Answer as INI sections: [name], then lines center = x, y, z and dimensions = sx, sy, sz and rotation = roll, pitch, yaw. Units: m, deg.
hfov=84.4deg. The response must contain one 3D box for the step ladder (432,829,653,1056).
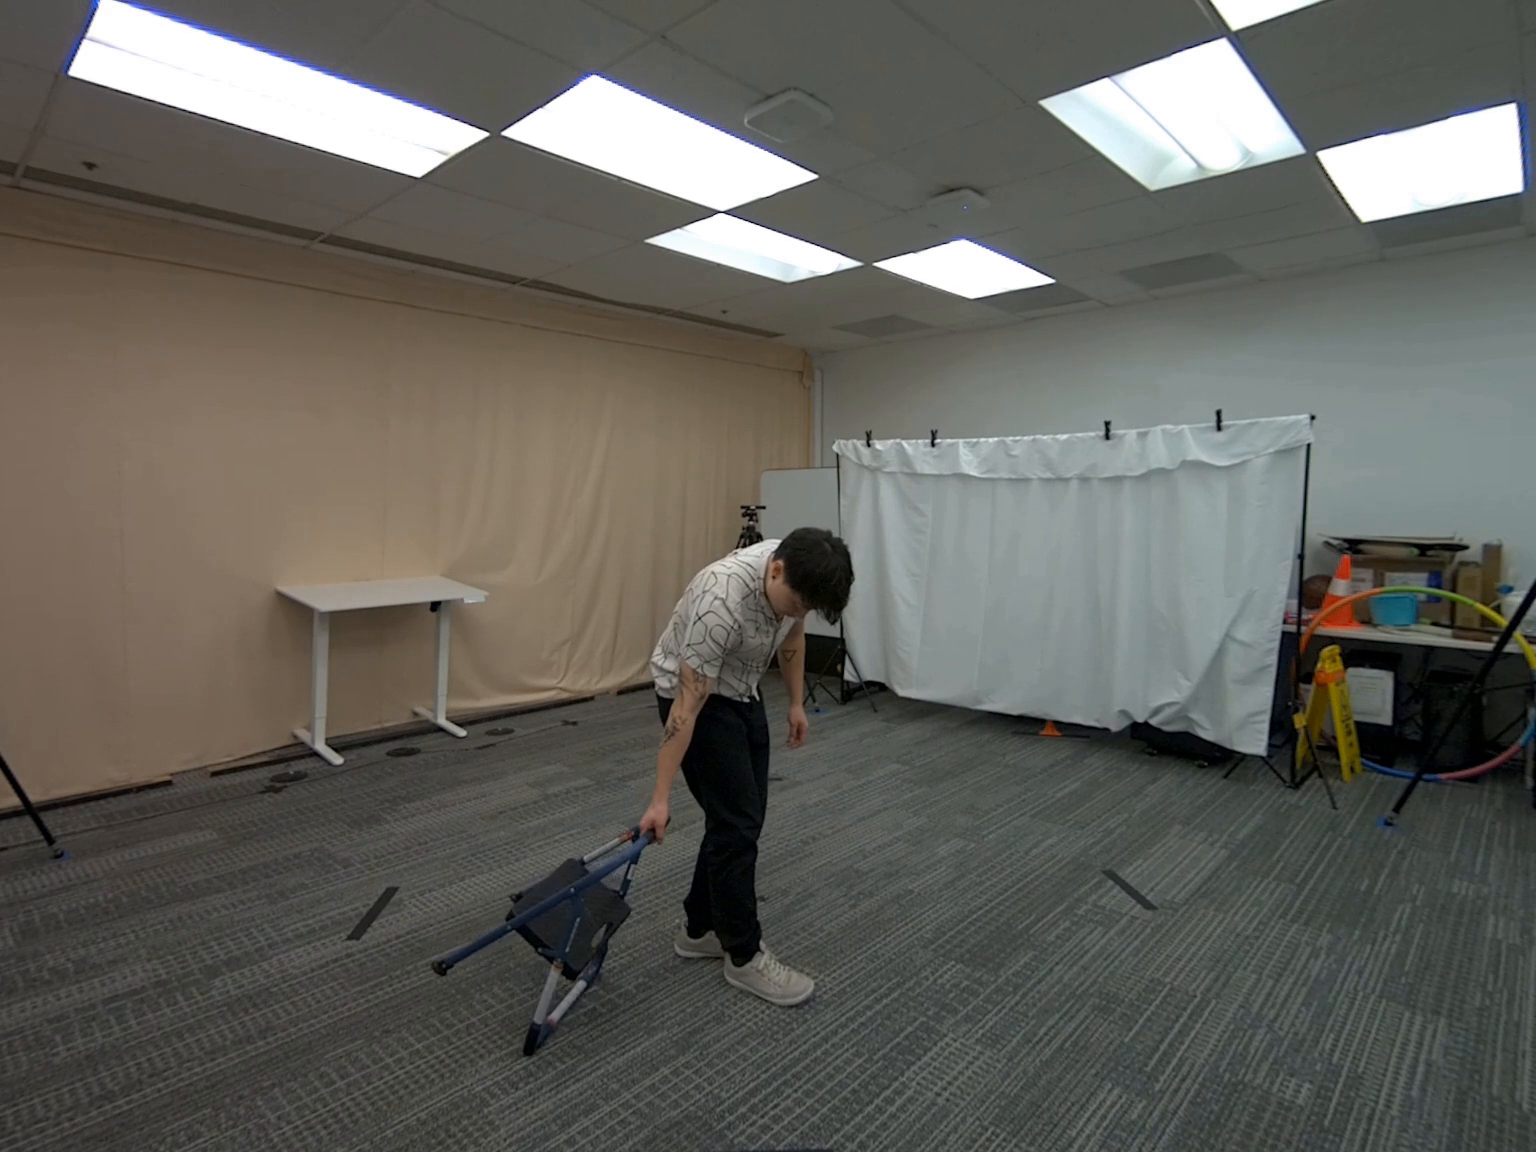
[step ladder]
center = -0.519, 0.871, 2.288
dimensions = 0.354, 0.606, 0.424
rotation = 37, 12, 9
